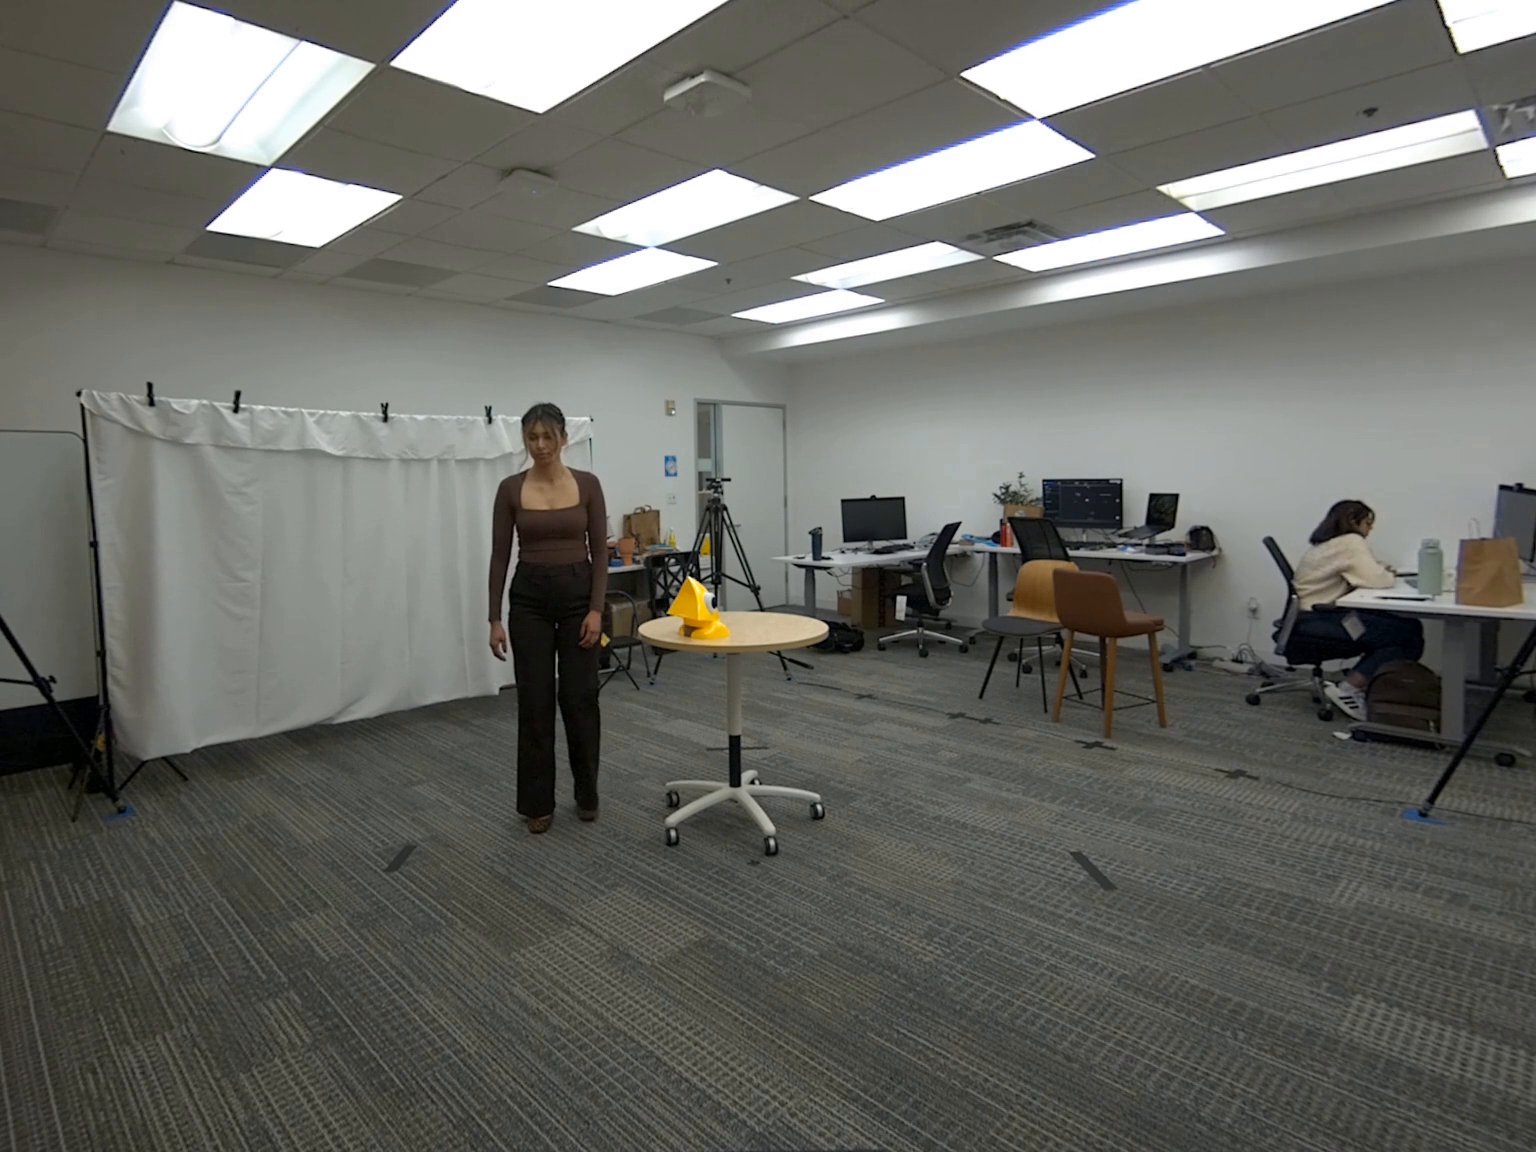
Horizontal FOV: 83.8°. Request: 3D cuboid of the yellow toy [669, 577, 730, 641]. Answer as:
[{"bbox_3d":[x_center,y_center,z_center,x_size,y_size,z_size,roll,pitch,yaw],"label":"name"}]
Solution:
[{"bbox_3d":[-0.258,0.111,3.285,0.188,0.230,0.211,-3,6,-40],"label":"yellow toy"}]
